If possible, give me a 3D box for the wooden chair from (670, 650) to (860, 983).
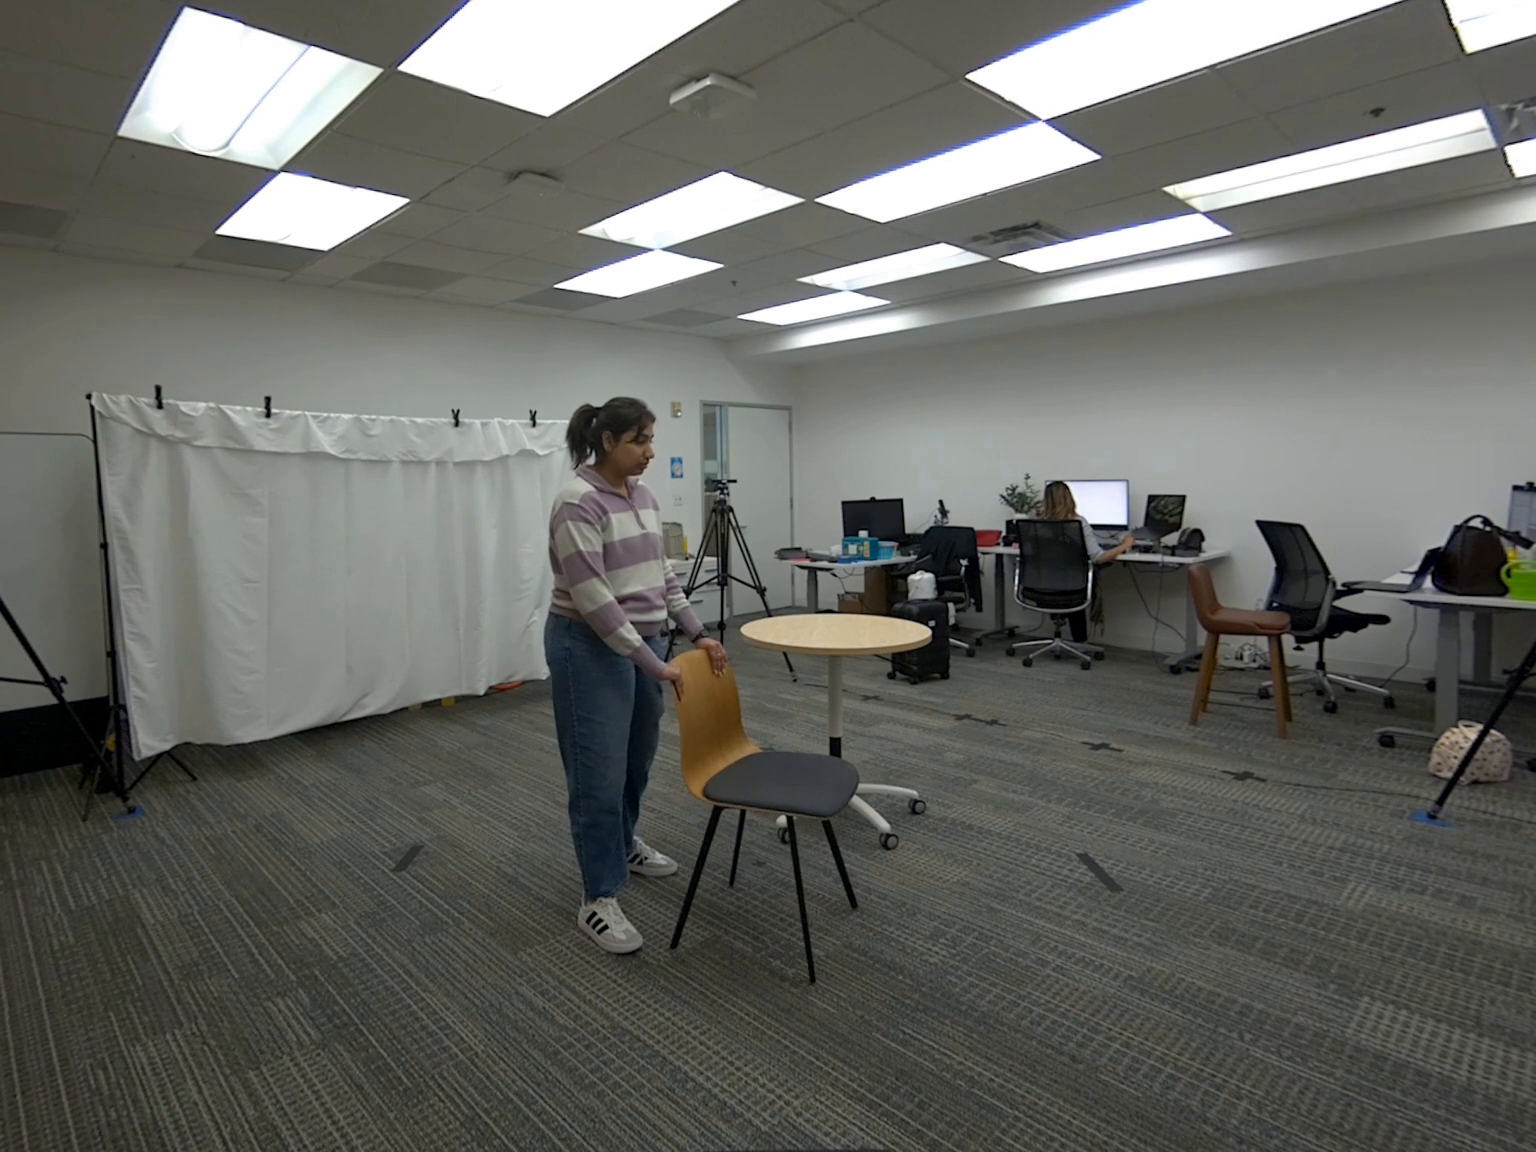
[{"bbox_3d":[0.001,0.671,2.634,0.534,0.876,0.469,-4,2,24],"label":"wooden chair"}]
